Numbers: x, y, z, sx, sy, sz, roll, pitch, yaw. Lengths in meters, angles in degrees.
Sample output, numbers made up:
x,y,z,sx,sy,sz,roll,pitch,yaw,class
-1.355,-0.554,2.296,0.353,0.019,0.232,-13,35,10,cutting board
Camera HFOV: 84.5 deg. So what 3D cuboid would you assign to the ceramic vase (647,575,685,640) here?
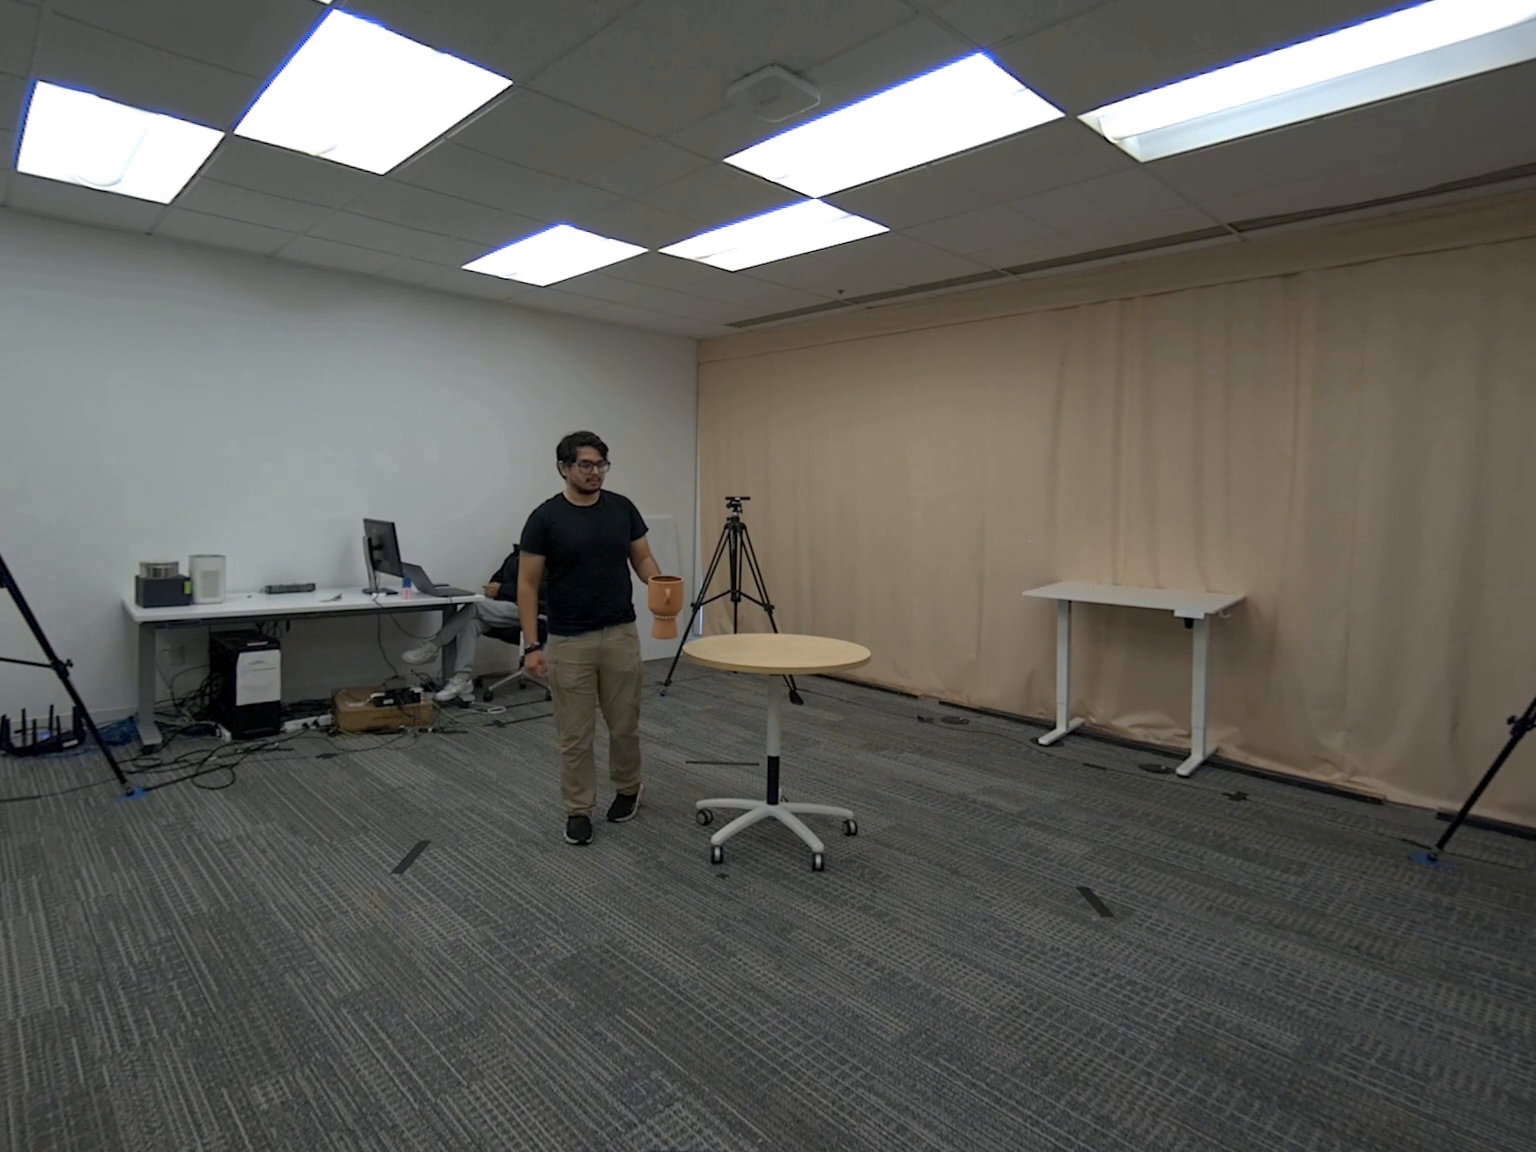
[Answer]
x,y,z,sx,sy,sz,roll,pitch,yaw,class
-0.393,0.117,3.151,0.137,0.218,0.156,7,10,26,ceramic vase
